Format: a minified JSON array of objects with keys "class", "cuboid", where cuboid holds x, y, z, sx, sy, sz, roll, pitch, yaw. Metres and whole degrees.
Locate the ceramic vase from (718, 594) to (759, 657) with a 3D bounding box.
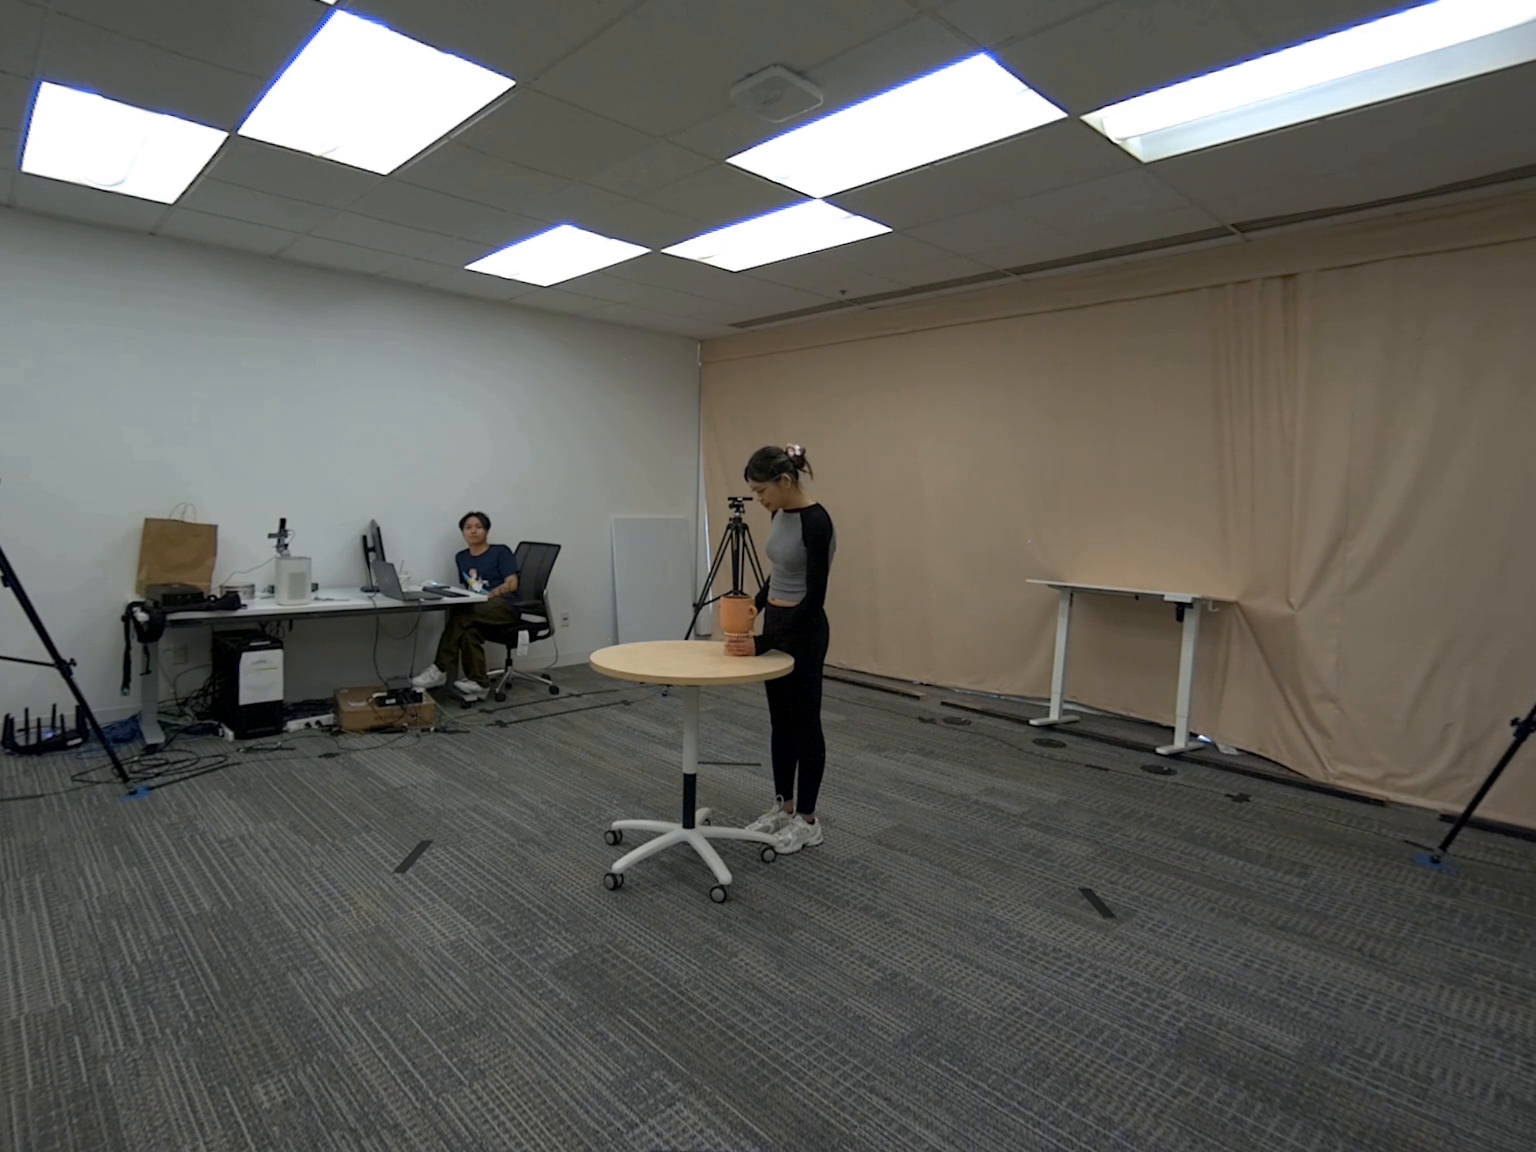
[{"class":"ceramic vase","cuboid":[-0.115,0.192,3.248,0.133,0.219,0.160,0,2,-10]}]
